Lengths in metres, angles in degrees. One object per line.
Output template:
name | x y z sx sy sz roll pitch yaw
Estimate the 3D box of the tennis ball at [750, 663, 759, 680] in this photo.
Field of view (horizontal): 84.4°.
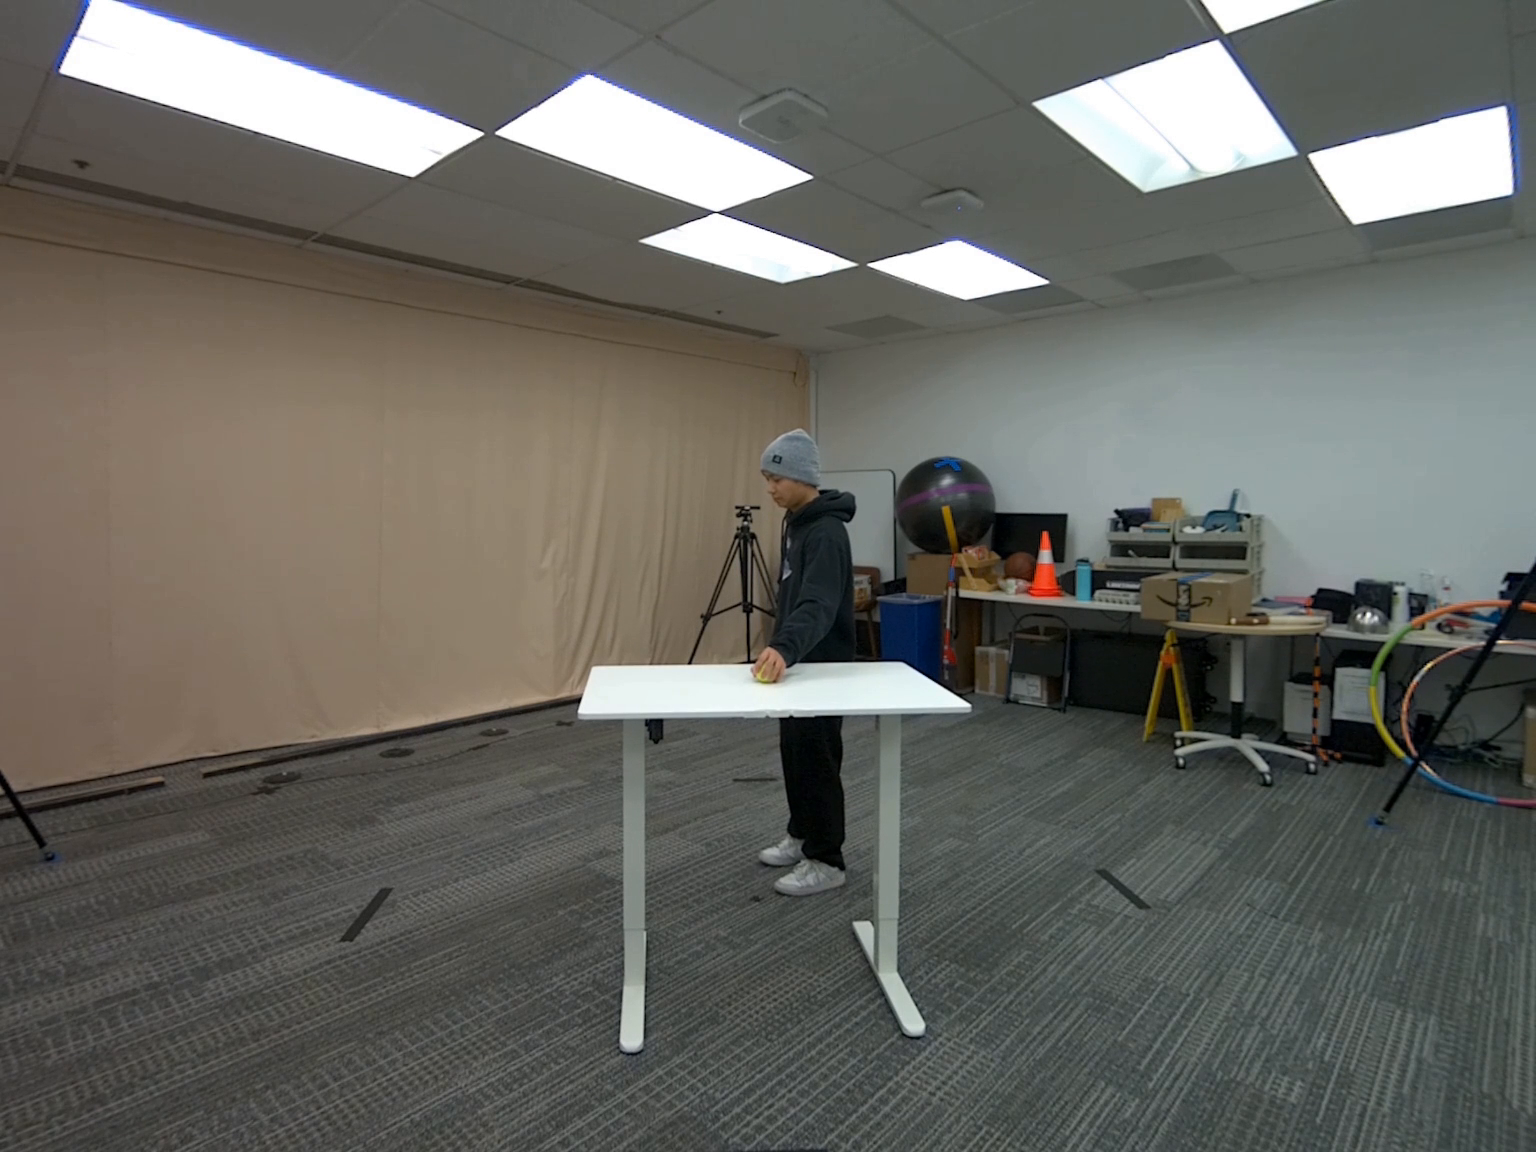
tennis ball | -0.008 0.276 2.412 0.066 0.066 0.067 0 4 -2
